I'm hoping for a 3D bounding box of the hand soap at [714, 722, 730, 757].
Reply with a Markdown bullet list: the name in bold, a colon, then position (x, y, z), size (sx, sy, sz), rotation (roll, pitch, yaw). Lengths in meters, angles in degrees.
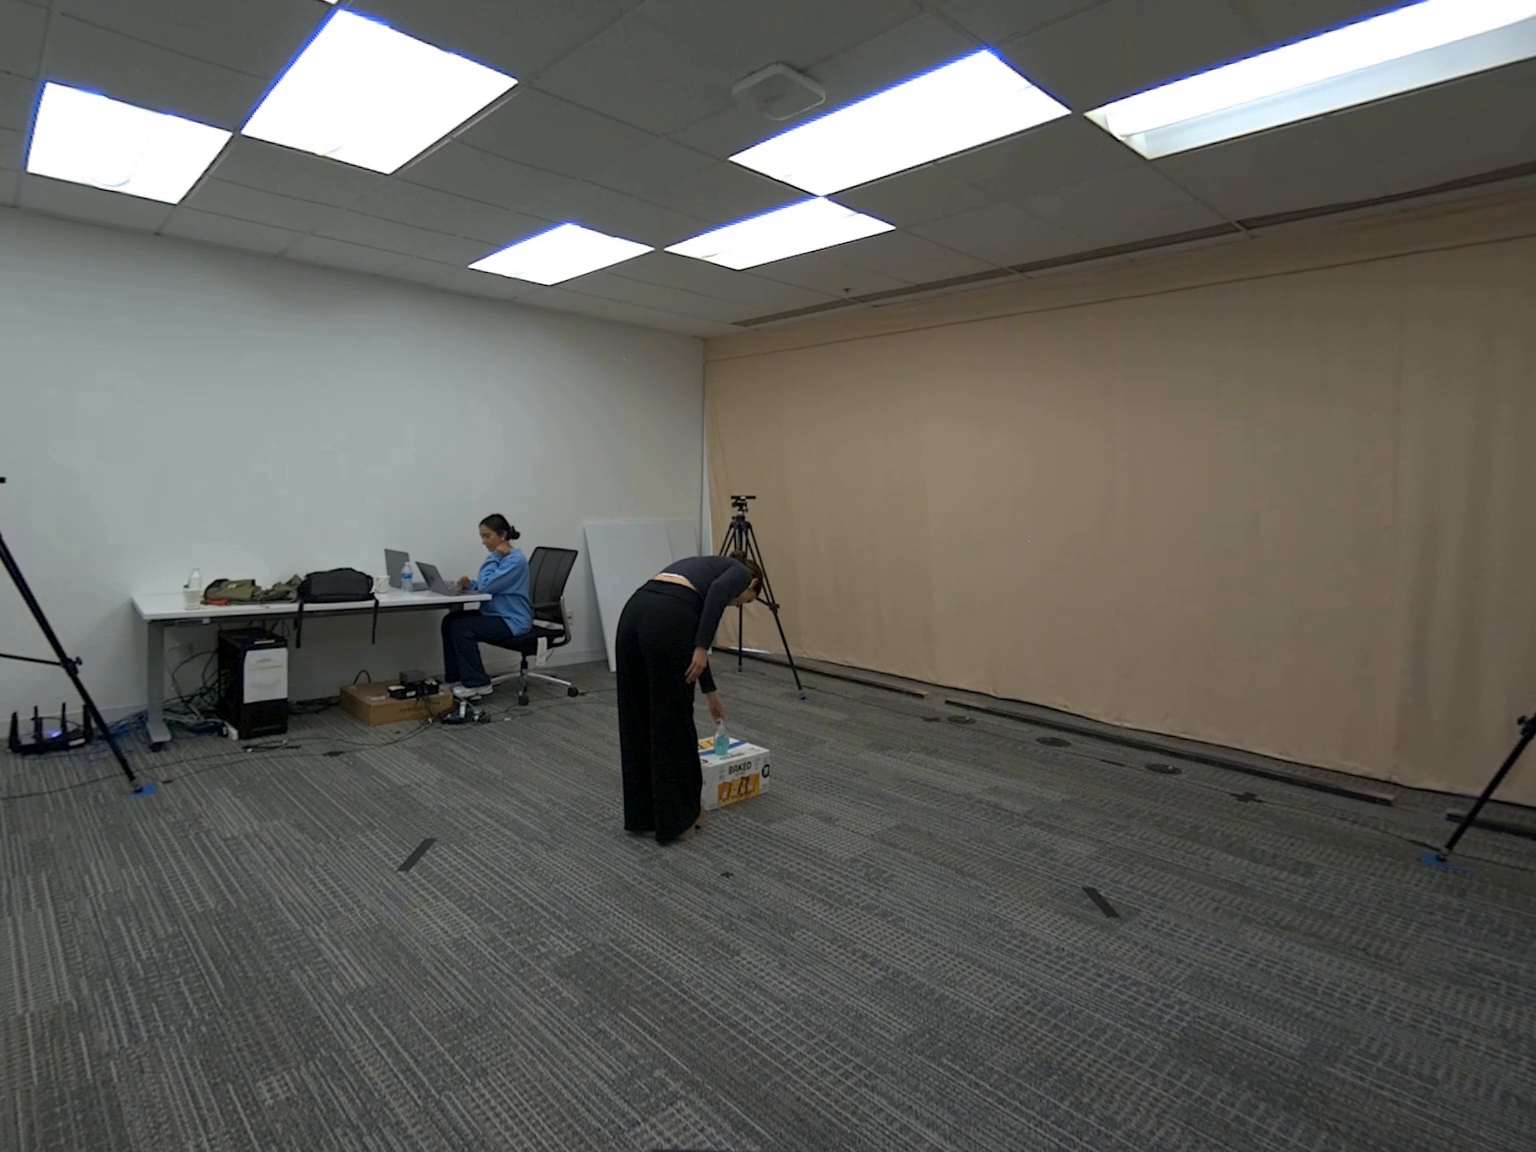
- **hand soap**: position (-0.220, 0.748, 3.931), size (0.082, 0.168, 0.044), rotation (5, -1, -39)
